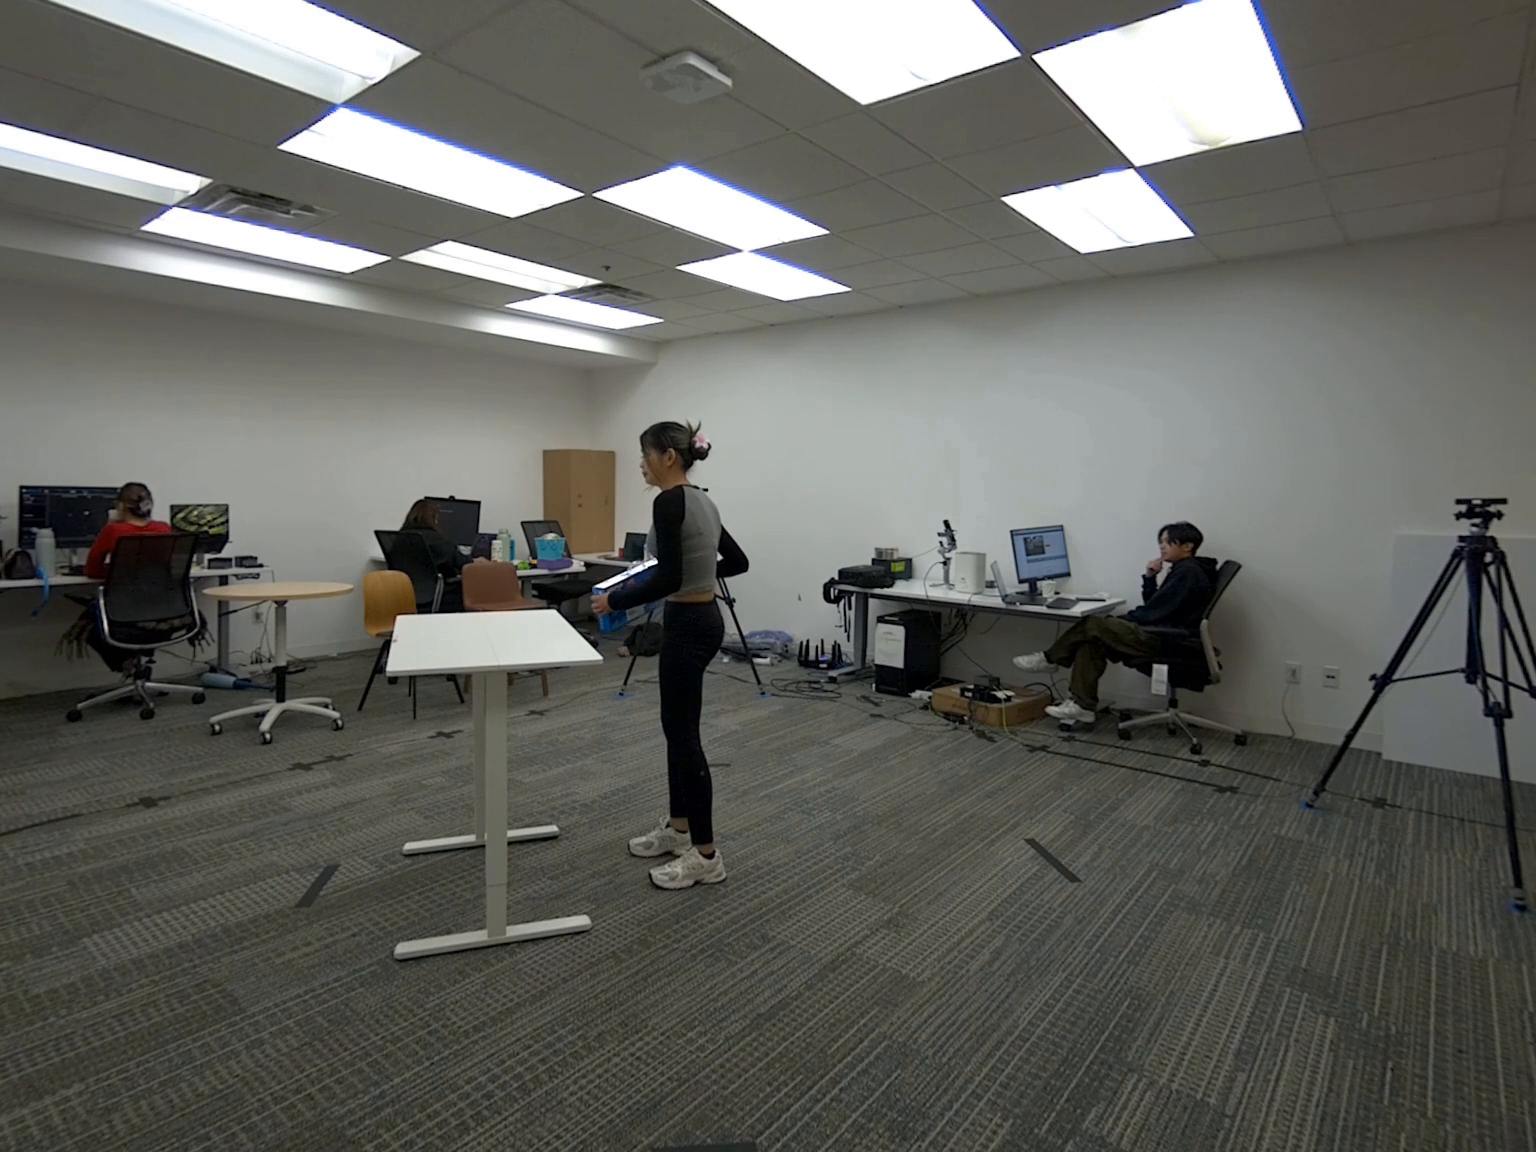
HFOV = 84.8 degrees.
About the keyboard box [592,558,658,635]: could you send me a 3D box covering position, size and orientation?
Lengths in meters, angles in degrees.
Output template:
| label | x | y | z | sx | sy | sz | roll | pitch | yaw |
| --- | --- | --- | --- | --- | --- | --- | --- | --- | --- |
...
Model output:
| label | x | y | z | sx | sy | sz | roll | pitch | yaw |
| --- | --- | --- | --- | --- | --- | --- | --- | --- | --- |
| keyboard box | -0.504 | 0.058 | 3.269 | 0.061 | 0.173 | 0.430 | 3 | 20 | 34 |
